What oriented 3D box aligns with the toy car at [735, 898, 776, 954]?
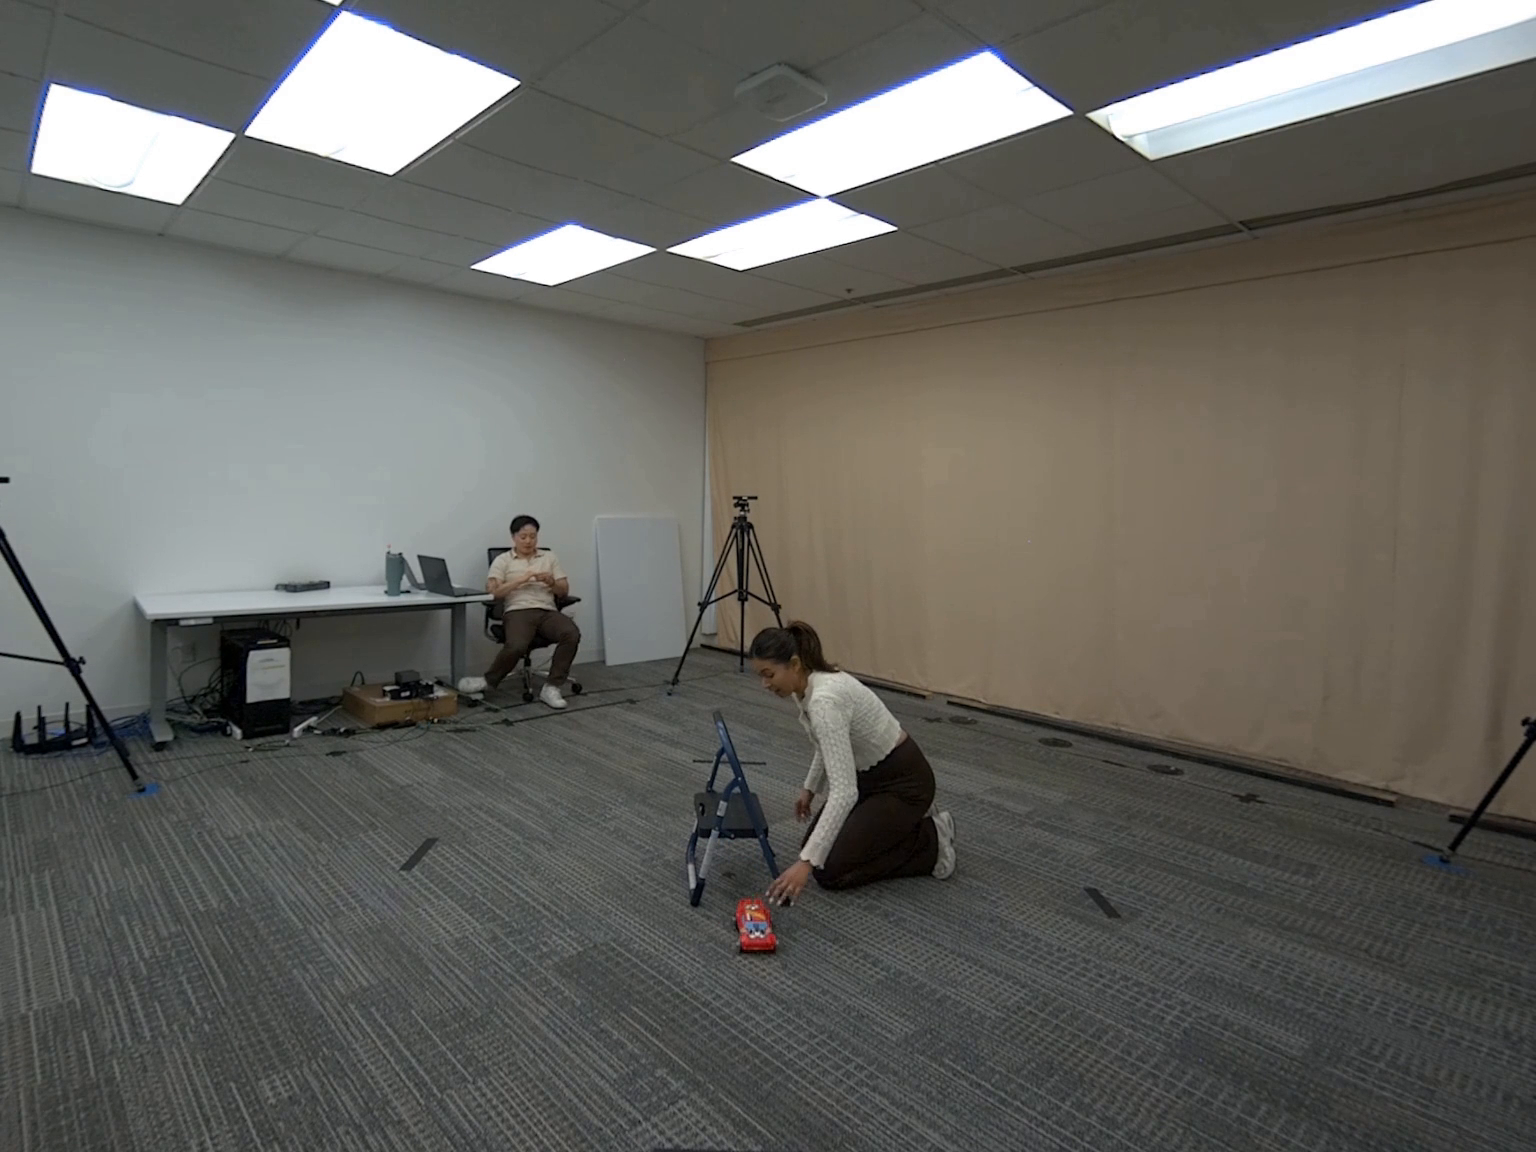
[{"bbox_3d":[-0.055,1.110,2.684,0.130,0.082,0.258,1,17,-4],"label":"toy car"}]
